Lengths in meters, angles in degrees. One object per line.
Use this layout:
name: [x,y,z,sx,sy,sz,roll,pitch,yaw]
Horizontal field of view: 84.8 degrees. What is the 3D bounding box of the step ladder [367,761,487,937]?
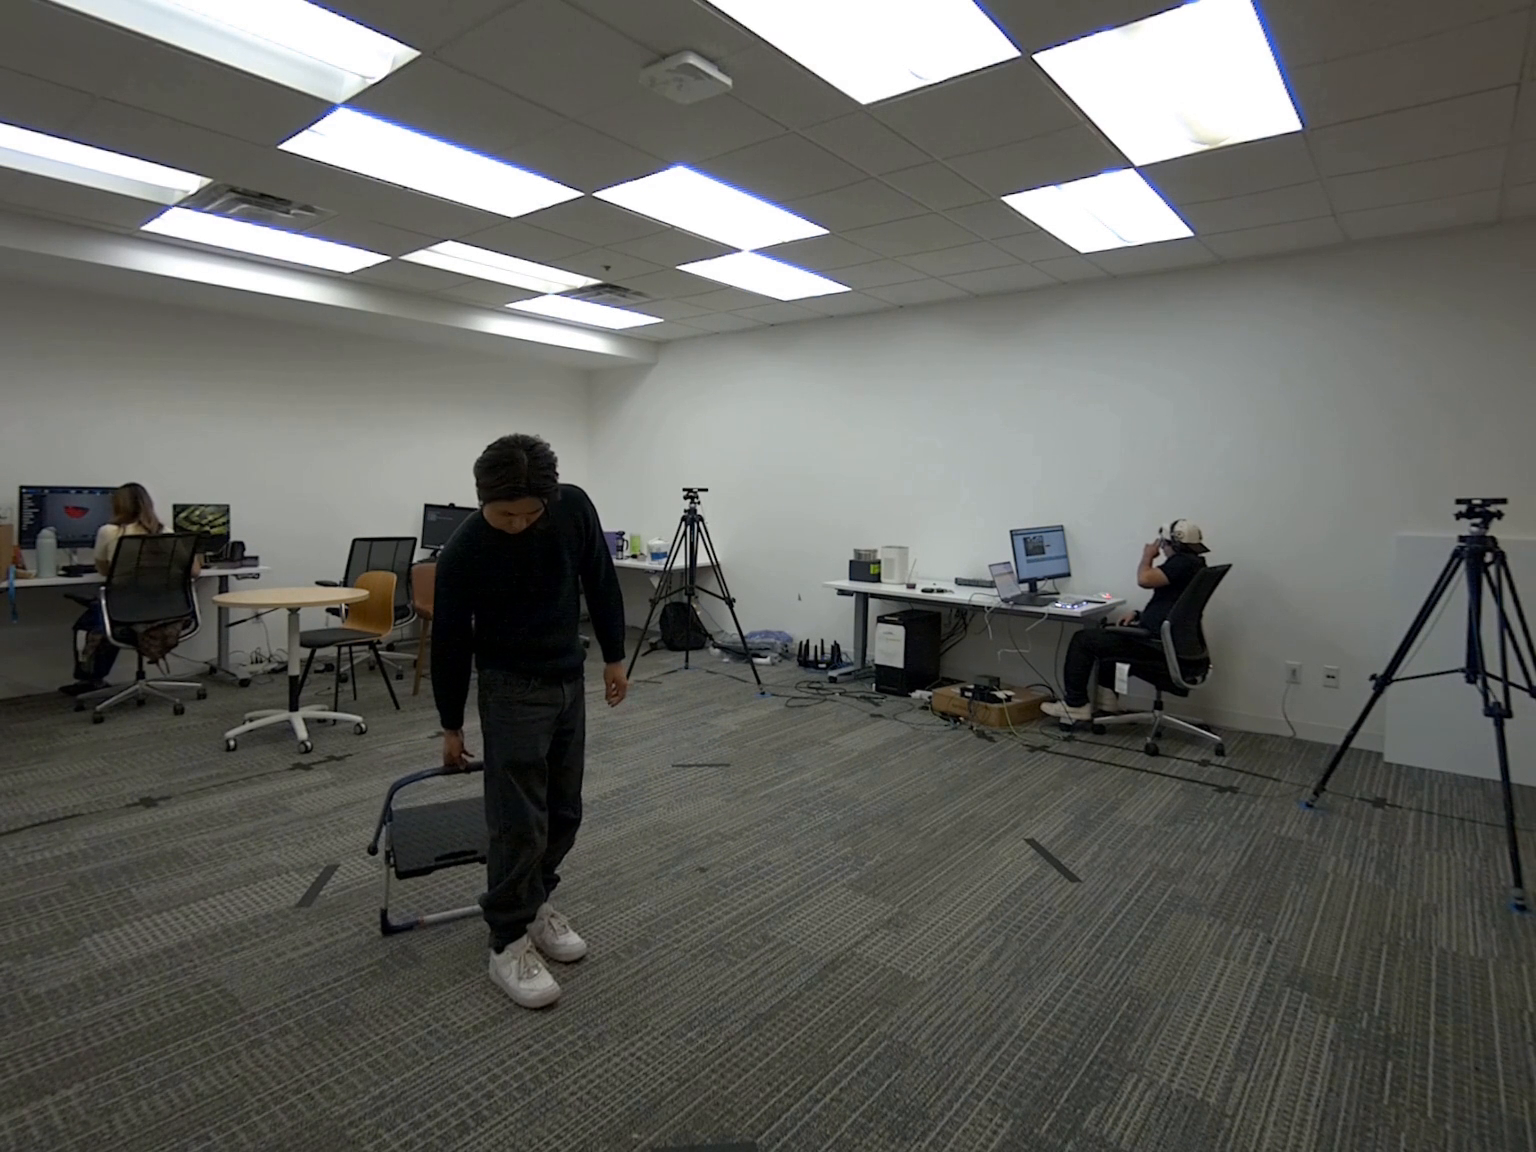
step ladder: [-1.028,0.763,2.690,0.419,0.596,0.364,-3,35,-31]
